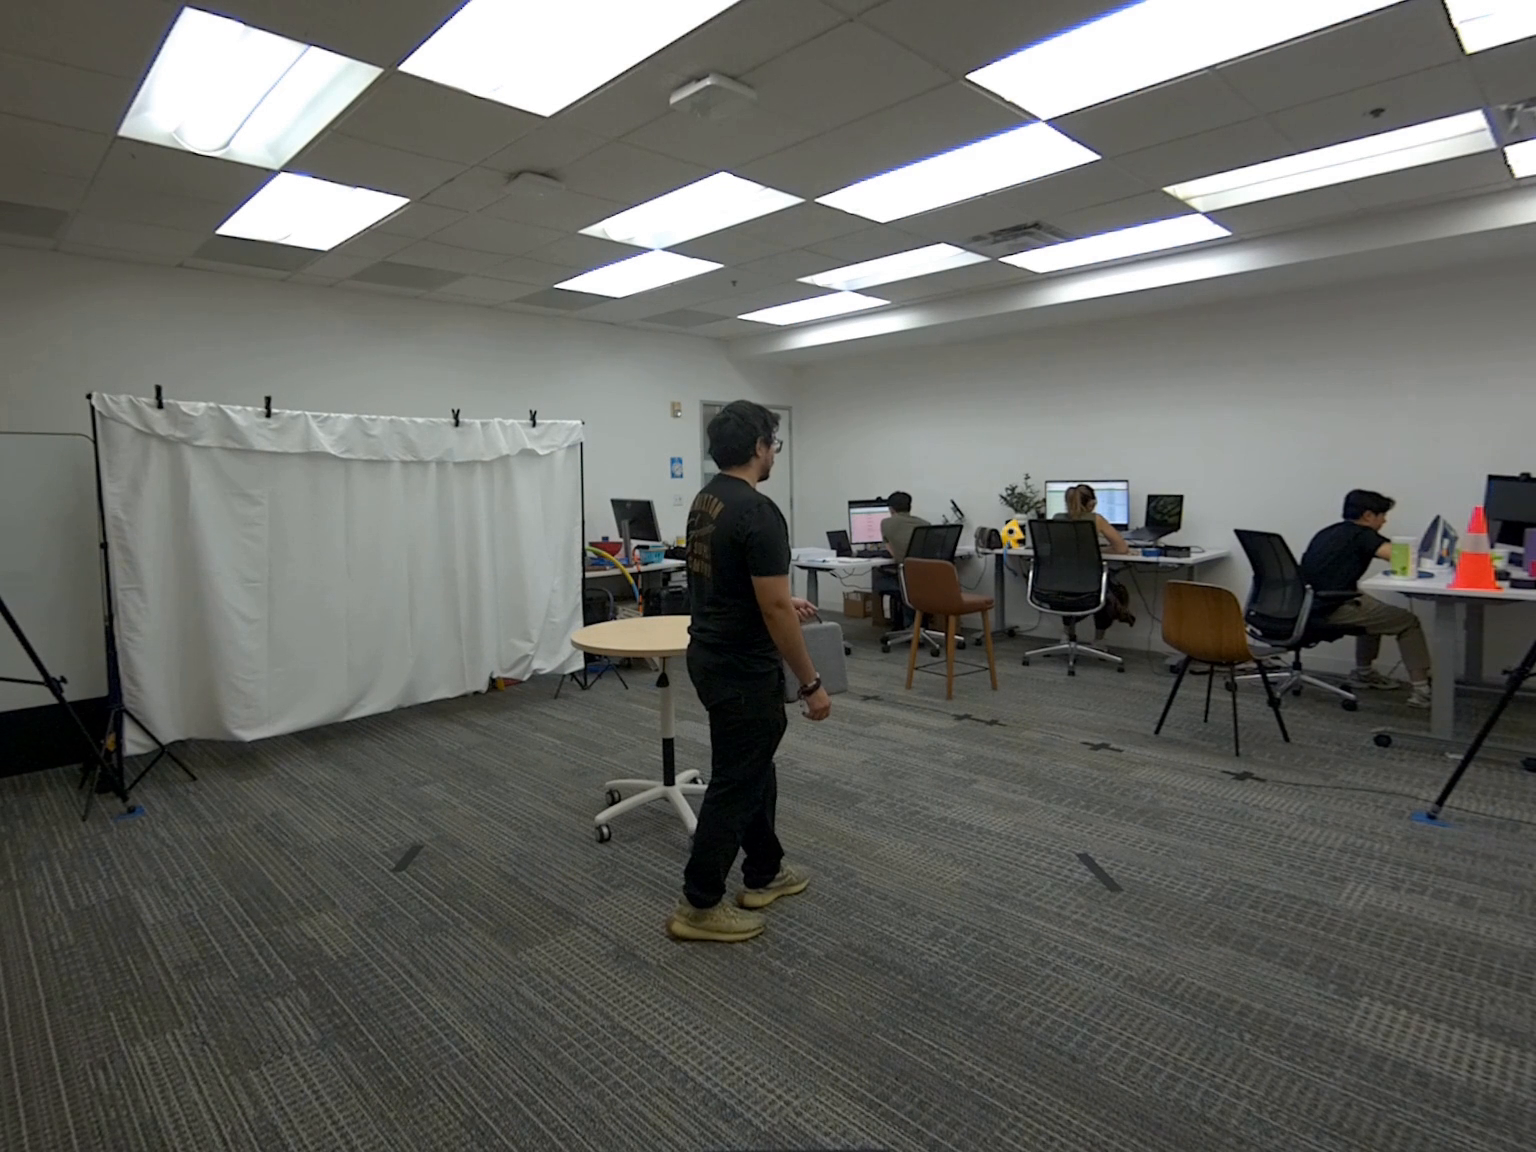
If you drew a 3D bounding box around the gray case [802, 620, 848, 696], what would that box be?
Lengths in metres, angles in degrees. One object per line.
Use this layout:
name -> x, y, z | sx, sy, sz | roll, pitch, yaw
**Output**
gray case -> 0.149, 0.291, 2.973 | 0.253, 0.262, 0.105 | -7, -4, -18
